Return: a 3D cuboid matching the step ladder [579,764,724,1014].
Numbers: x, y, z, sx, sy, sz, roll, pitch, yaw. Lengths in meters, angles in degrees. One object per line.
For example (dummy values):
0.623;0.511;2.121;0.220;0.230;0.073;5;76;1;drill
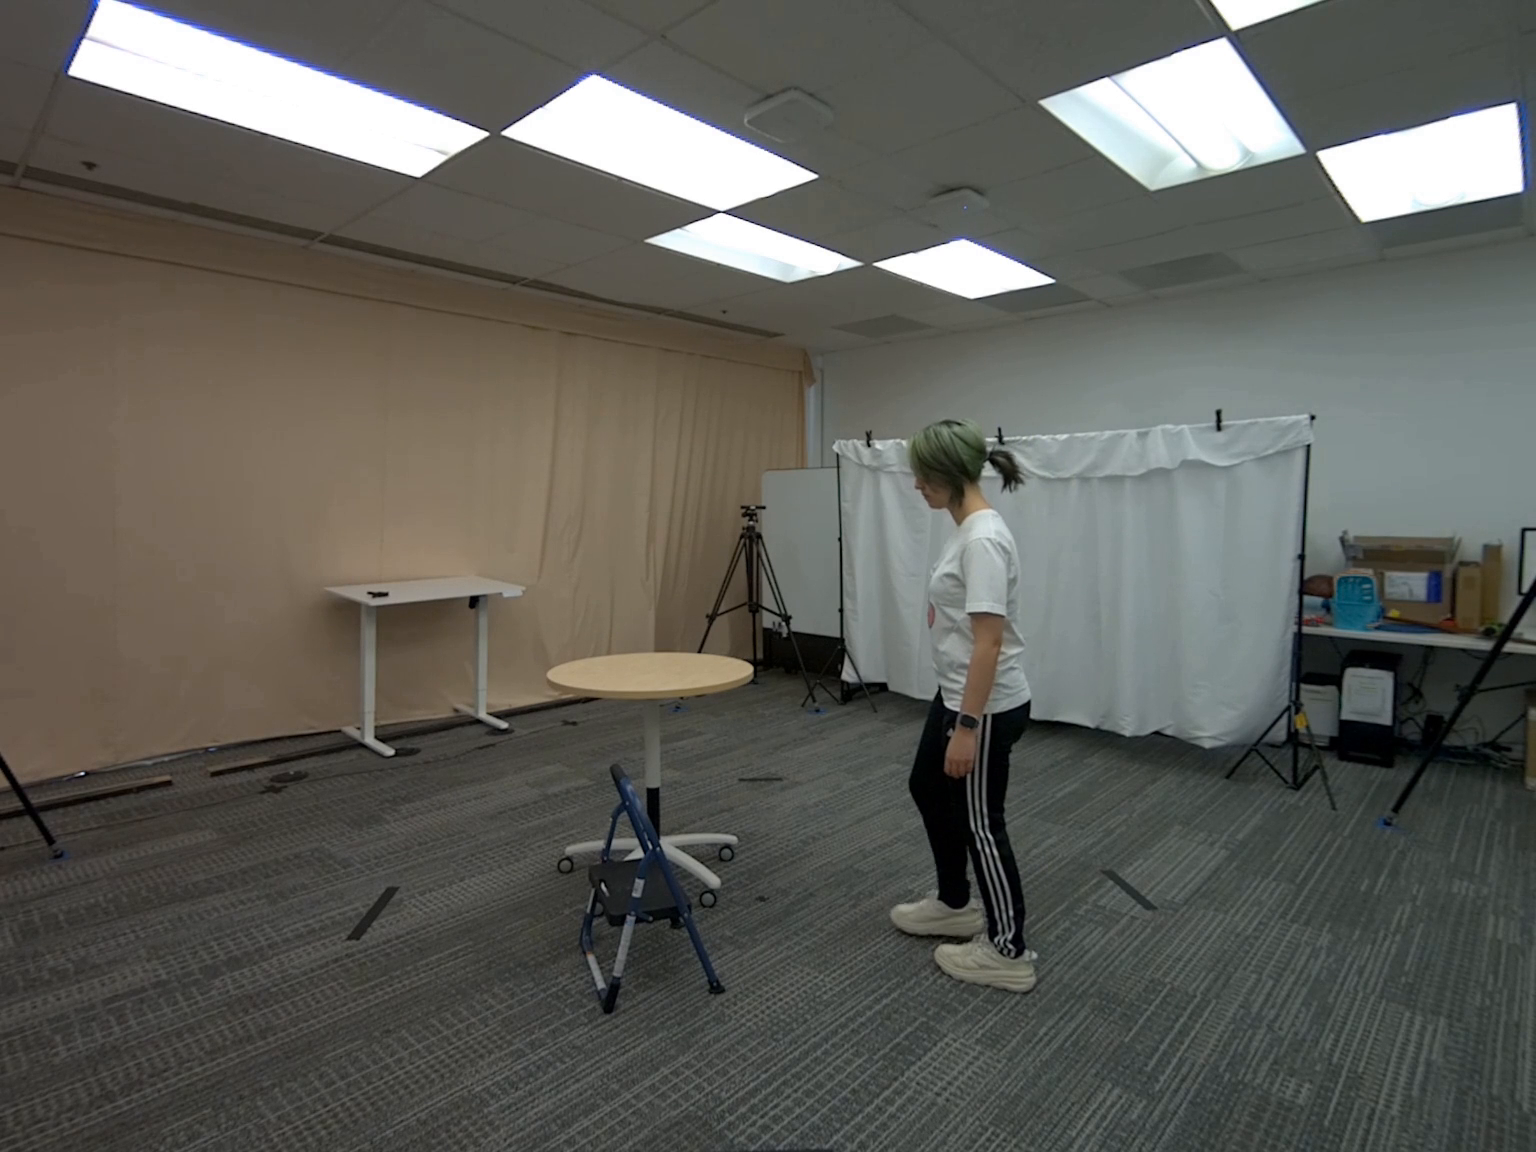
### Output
-0.367;0.882;2.538;0.342;0.605;0.441;-2;4;-22;step ladder
